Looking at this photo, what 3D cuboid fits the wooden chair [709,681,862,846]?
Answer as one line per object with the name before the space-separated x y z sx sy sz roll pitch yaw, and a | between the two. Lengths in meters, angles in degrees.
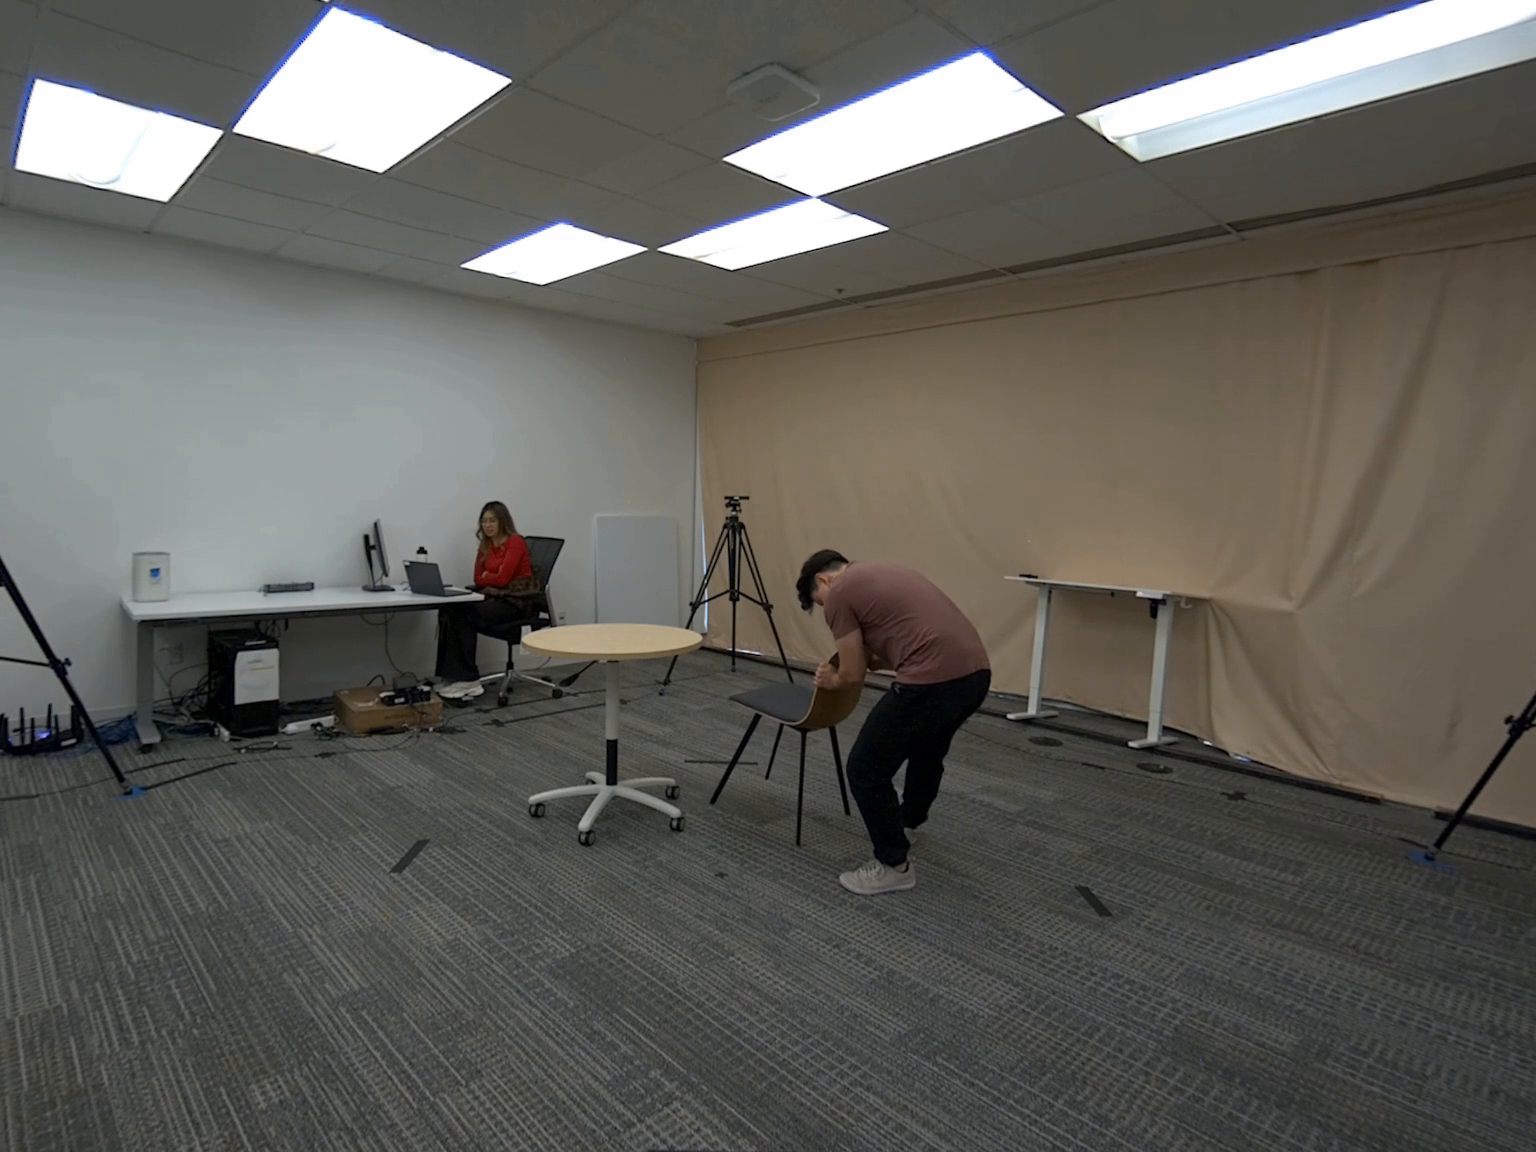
wooden chair | 0.106 0.604 3.624 0.537 0.872 0.468 20 13 33
